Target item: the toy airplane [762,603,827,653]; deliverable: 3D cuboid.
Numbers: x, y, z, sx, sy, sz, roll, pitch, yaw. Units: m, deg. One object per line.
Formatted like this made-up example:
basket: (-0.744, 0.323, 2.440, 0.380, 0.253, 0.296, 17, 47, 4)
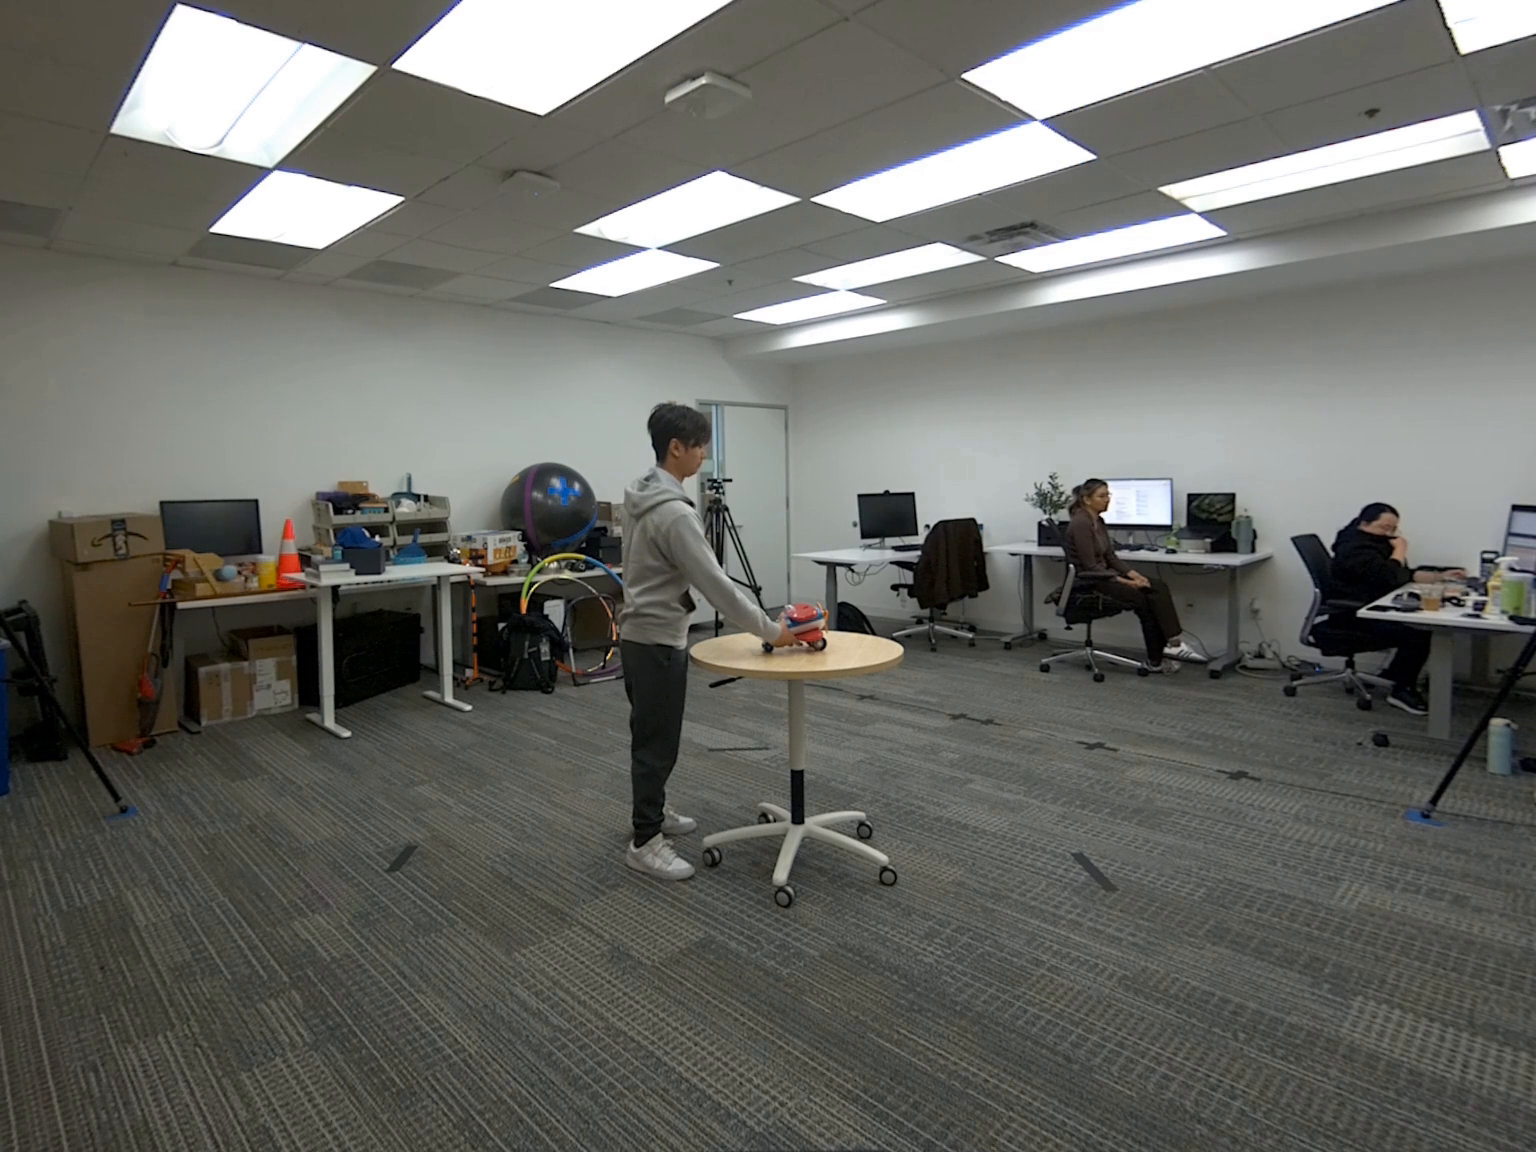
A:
toy airplane: (0.091, 0.186, 3.036, 0.252, 0.156, 0.259, -5, 8, -37)
